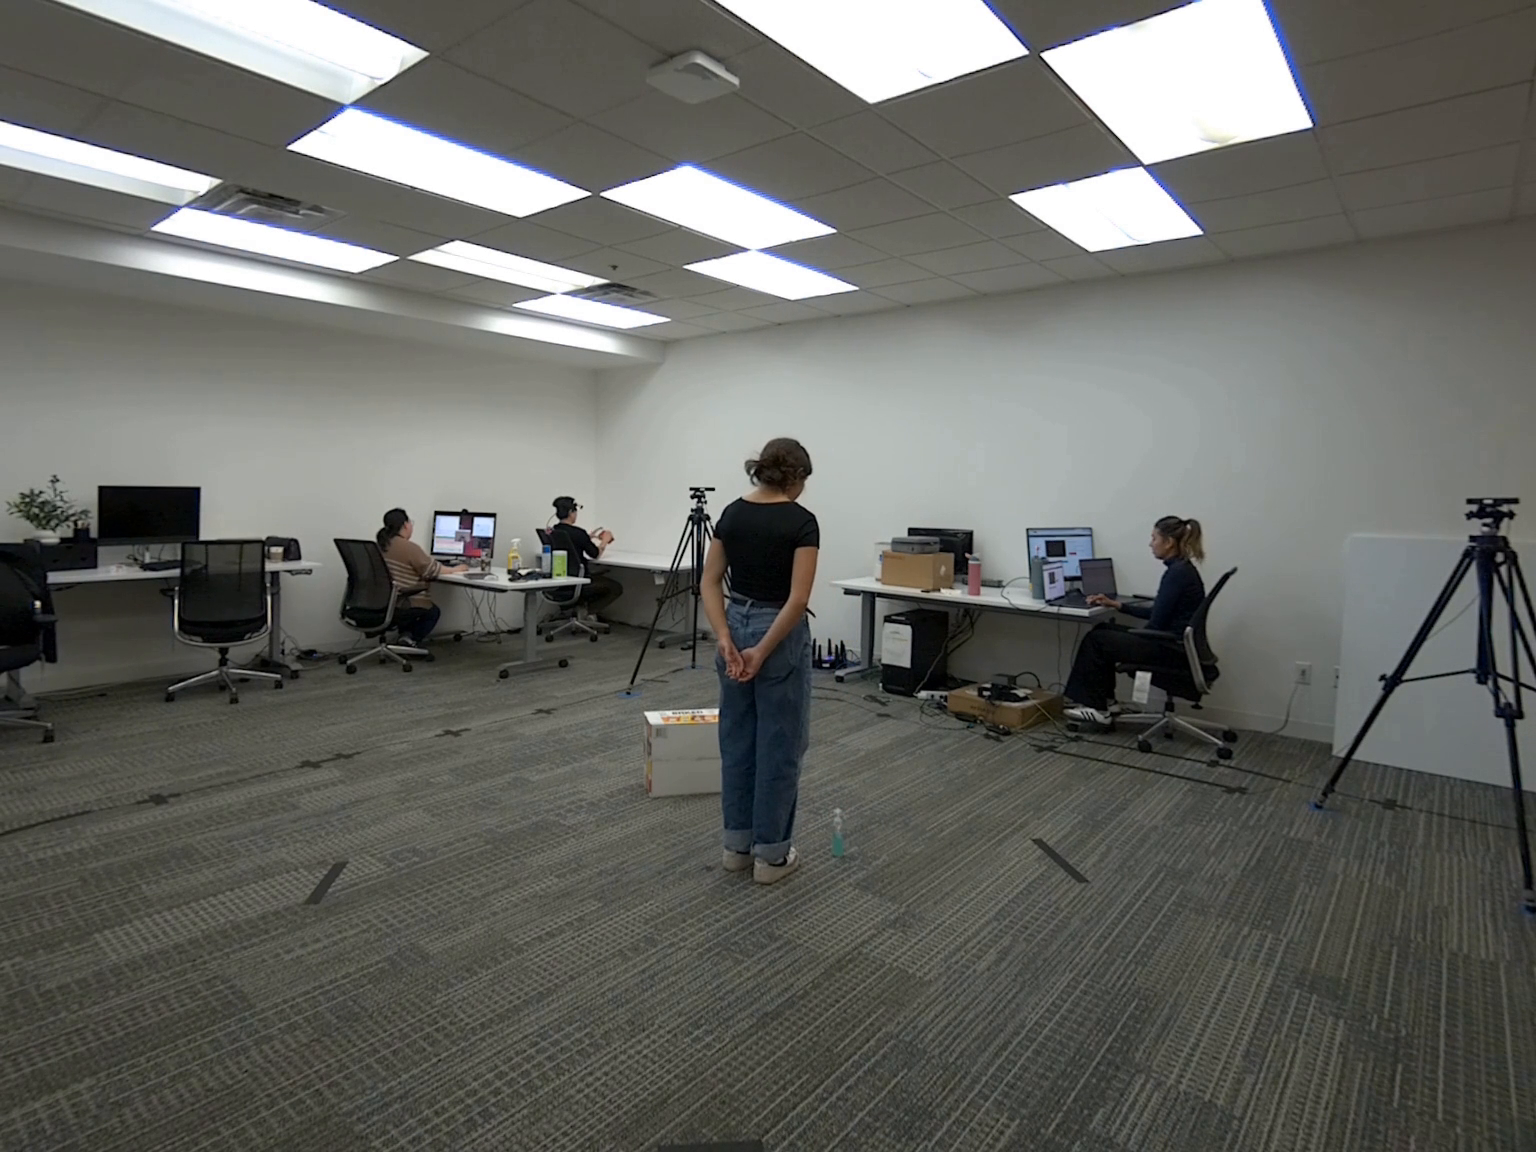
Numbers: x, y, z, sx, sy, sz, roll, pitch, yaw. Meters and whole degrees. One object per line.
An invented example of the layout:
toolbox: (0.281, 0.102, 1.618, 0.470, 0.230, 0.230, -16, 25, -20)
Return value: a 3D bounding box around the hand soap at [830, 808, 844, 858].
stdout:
hand soap: (0.258, 0.983, 3.265, 0.044, 0.168, 0.084, -4, 1, 5)
